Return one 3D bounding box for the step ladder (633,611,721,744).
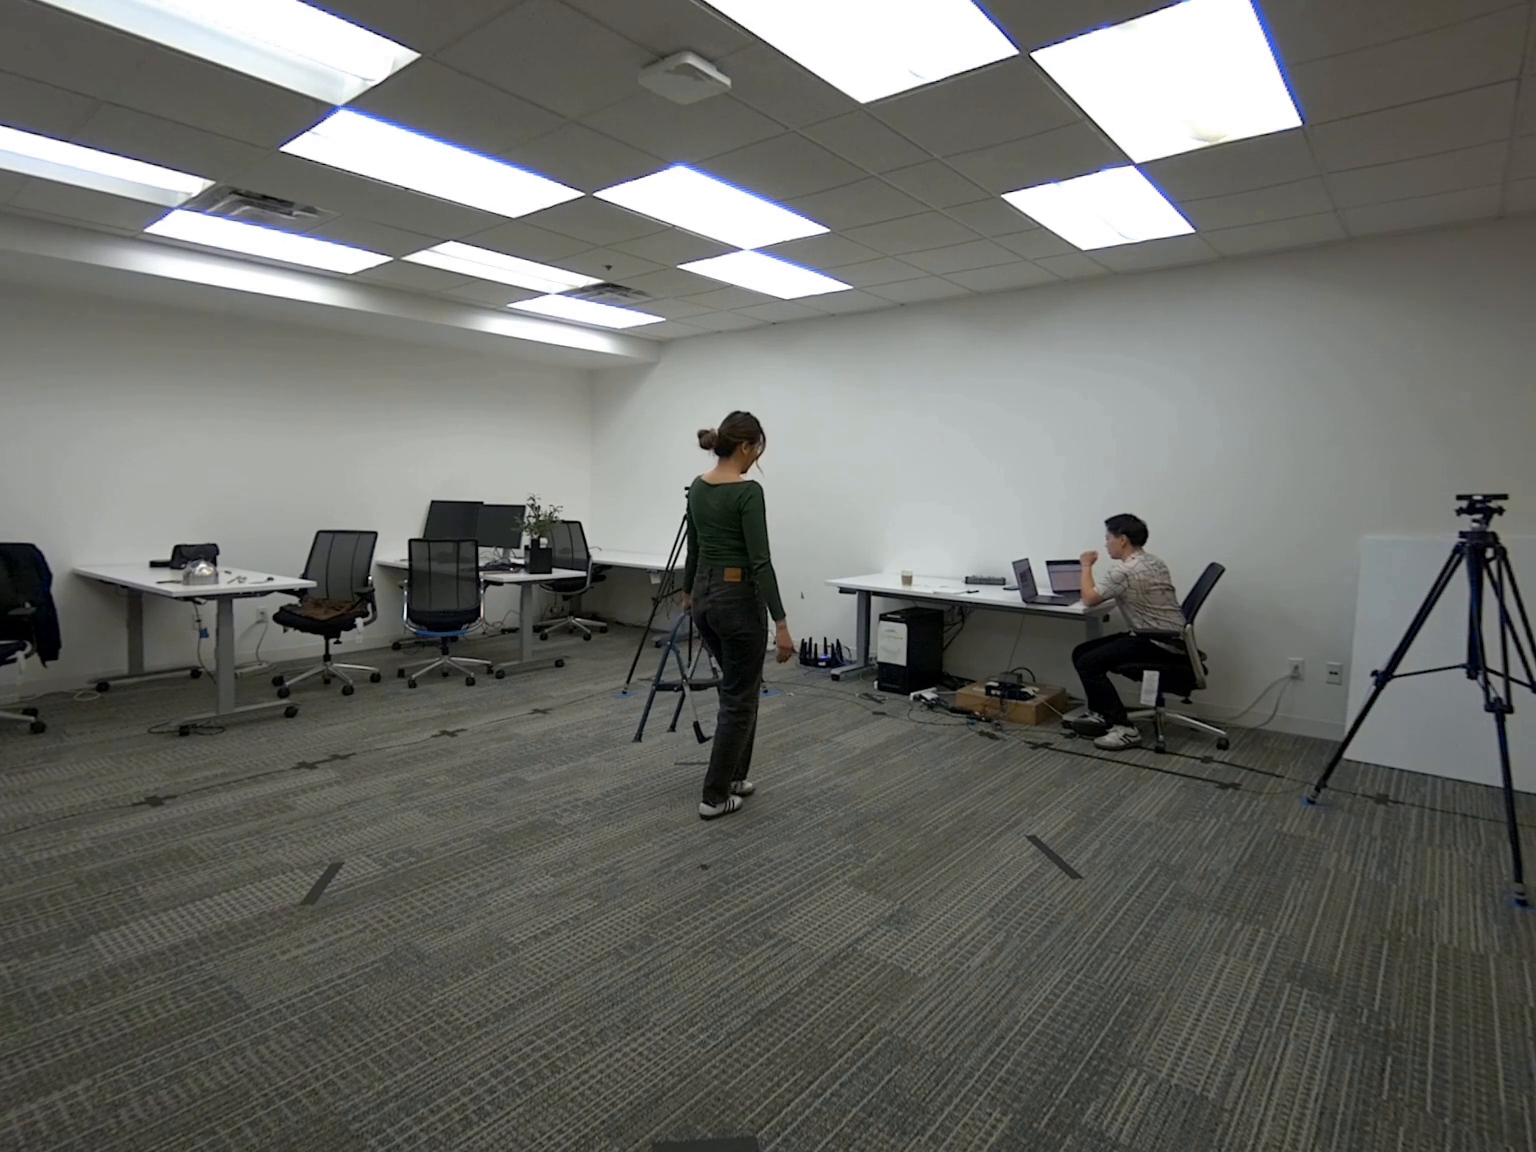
[{"bbox_3d":[-0.420,0.459,4.025,0.356,0.610,0.420,-4,-6,18],"label":"step ladder"}]
